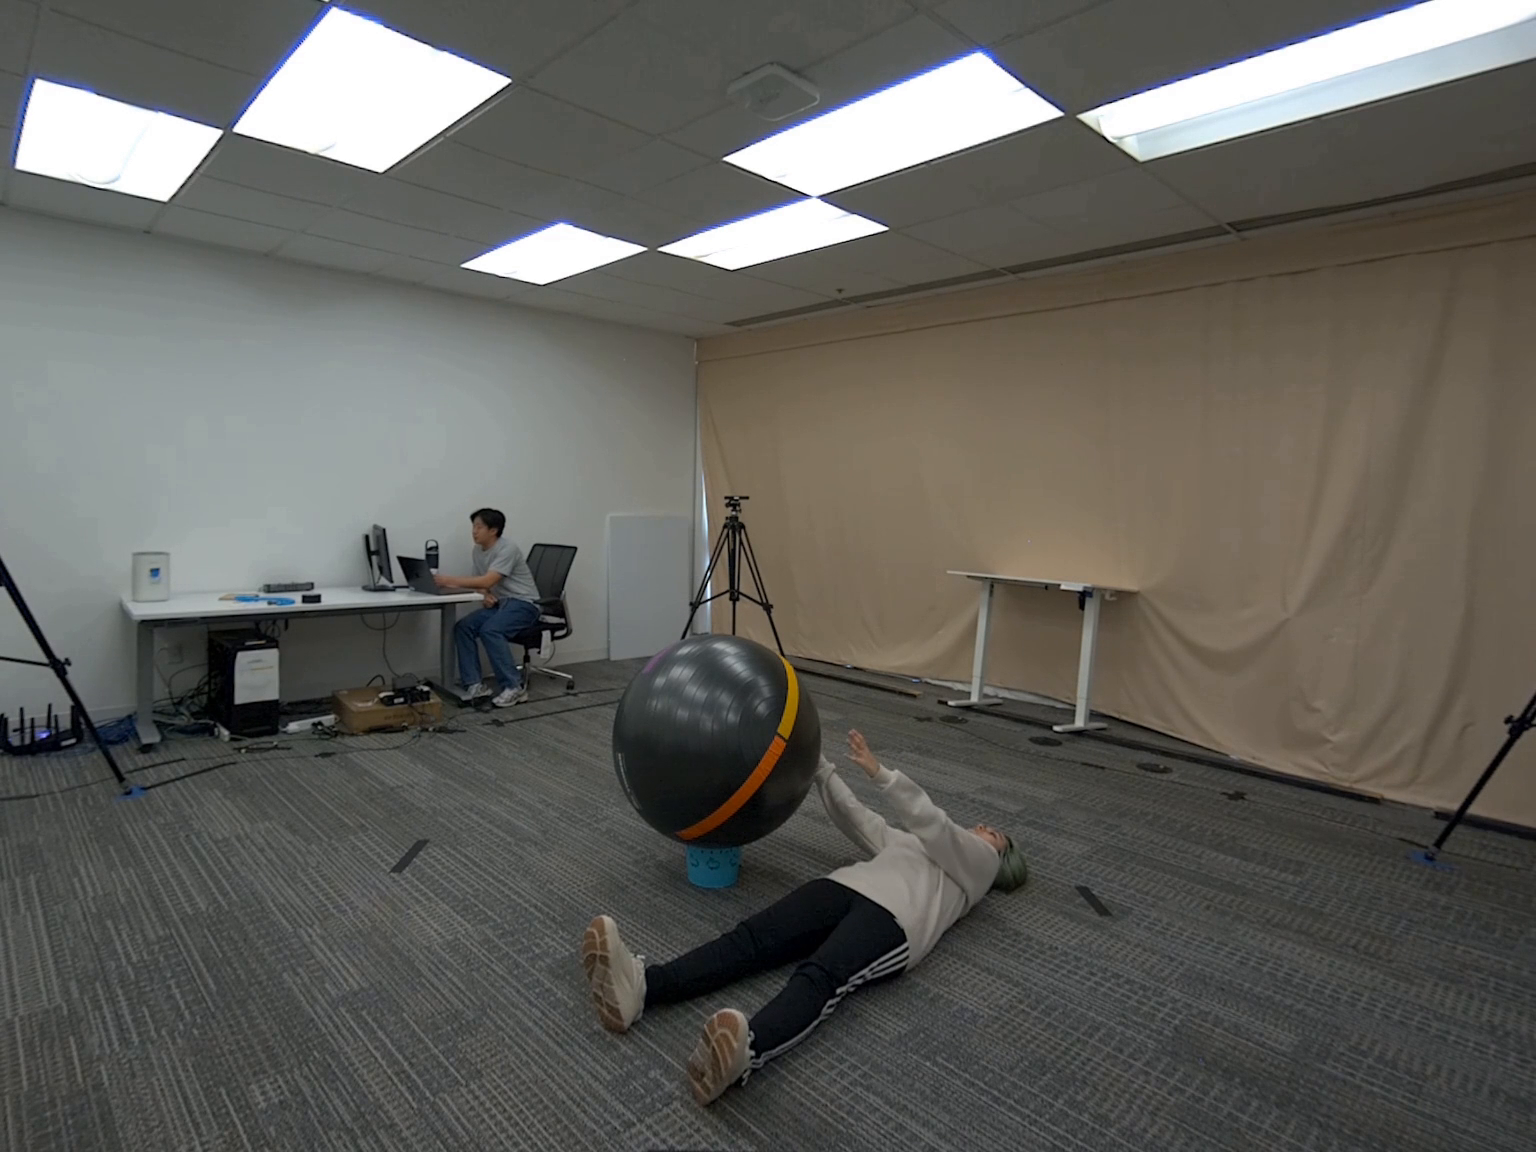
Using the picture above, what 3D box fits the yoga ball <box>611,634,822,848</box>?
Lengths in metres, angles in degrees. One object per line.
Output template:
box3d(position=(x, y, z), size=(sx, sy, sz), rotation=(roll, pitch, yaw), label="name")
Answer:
box3d(position=(-0.193, 0.594, 3.065), size=(0.757, 0.756, 0.761), rotation=(1, 4, -1), label="yoga ball")
